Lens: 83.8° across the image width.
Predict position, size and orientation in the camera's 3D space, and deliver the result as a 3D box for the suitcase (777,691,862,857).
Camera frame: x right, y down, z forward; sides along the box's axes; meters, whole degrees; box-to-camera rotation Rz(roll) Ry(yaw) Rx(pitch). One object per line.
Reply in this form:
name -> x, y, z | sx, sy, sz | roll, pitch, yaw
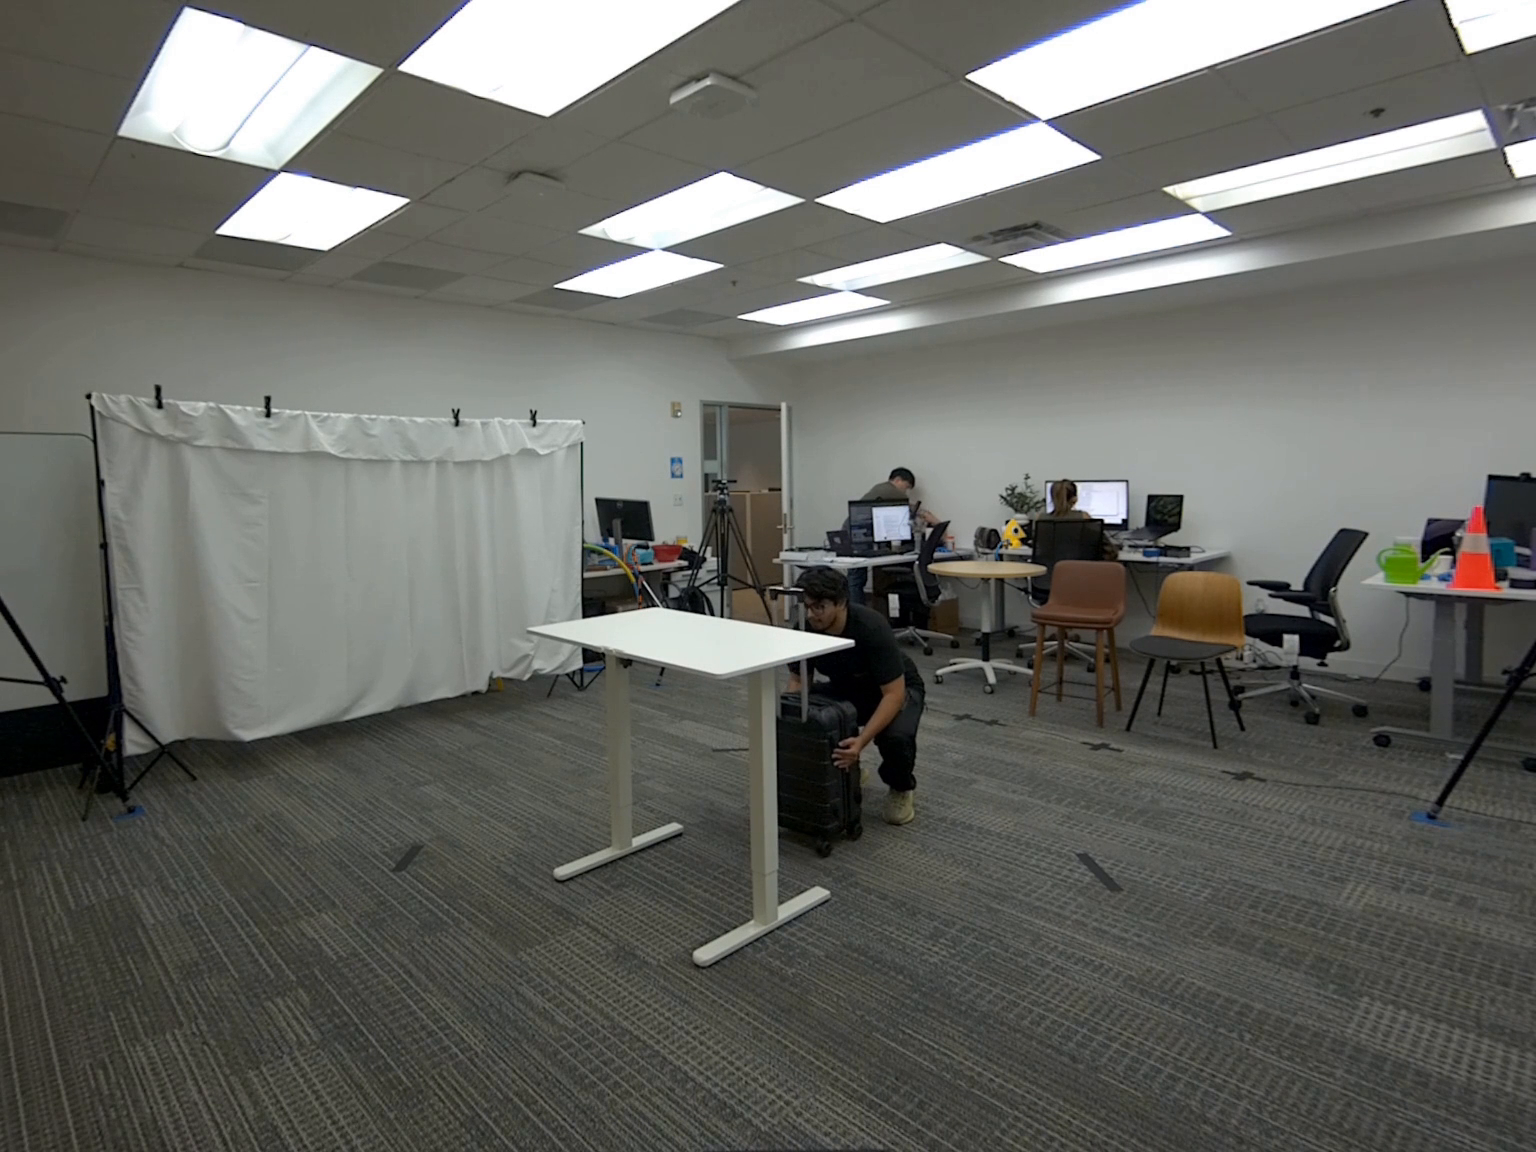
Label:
suitcase -> 0.157, 0.535, 3.331 | 0.395, 0.976, 0.250 | 1, 3, 43
